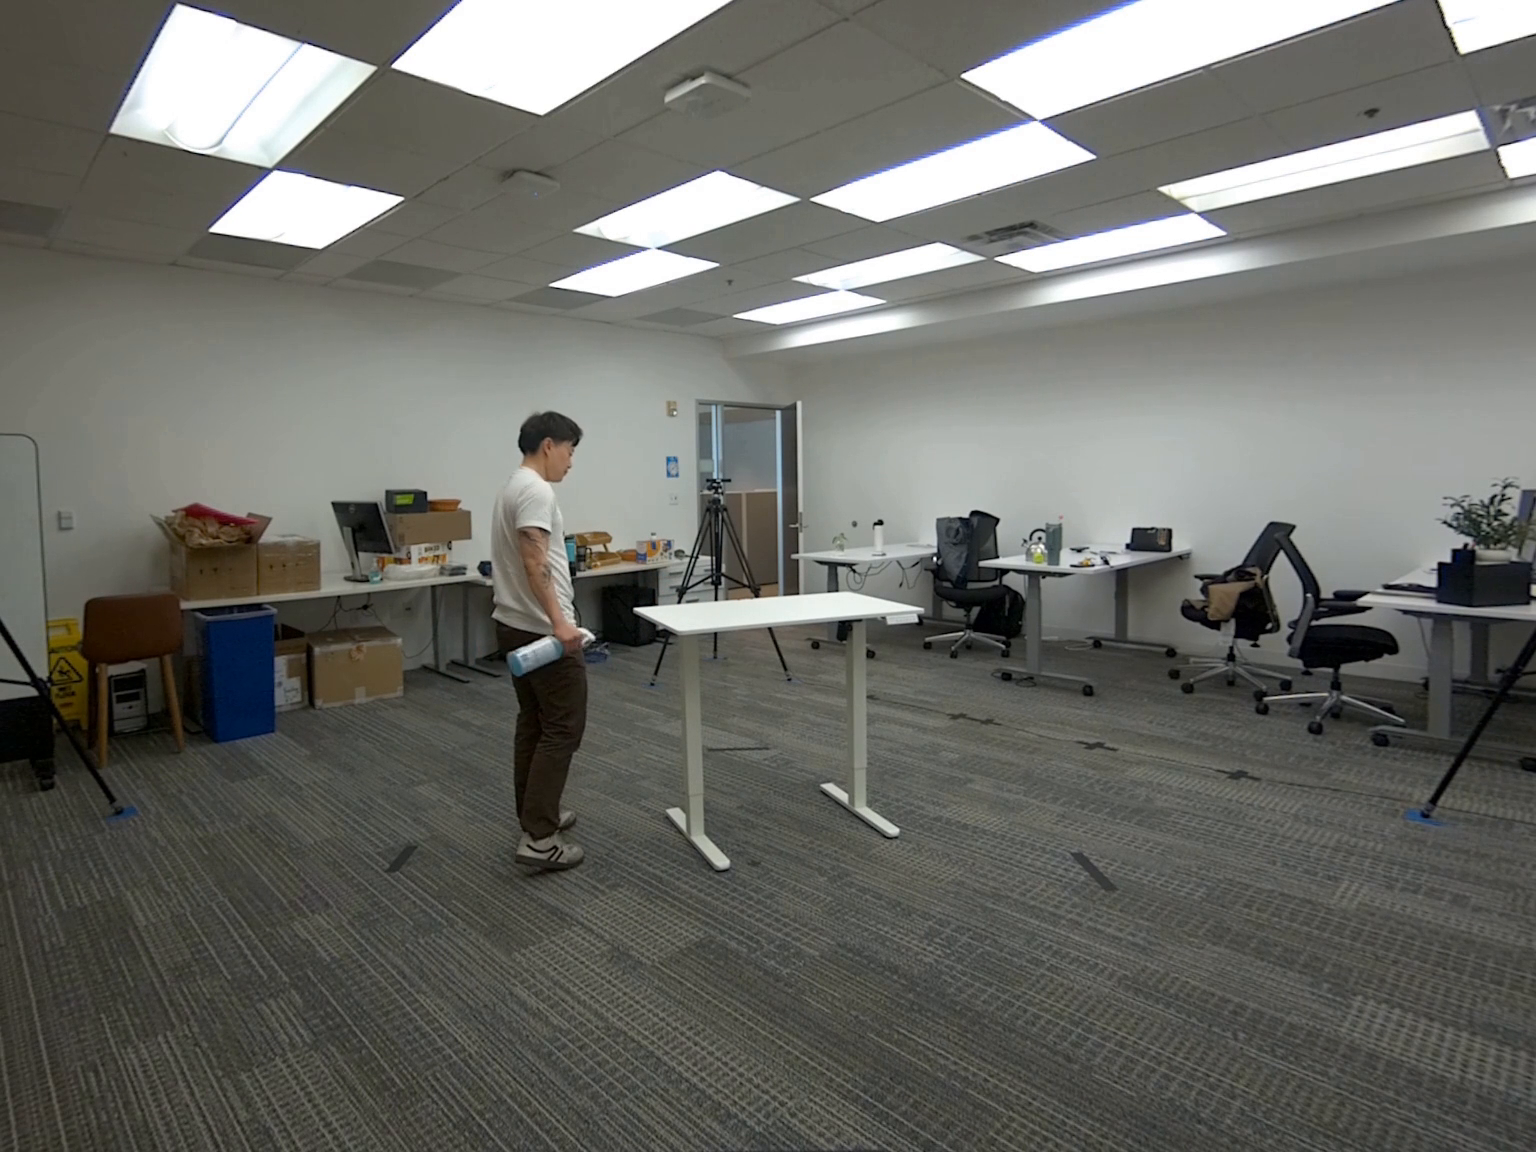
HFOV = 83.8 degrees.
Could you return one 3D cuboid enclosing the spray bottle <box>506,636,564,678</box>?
[{"bbox_3d":[-0.756,0.246,2.980,0.293,0.086,0.093,-24,17,-32],"label":"spray bottle"}]
